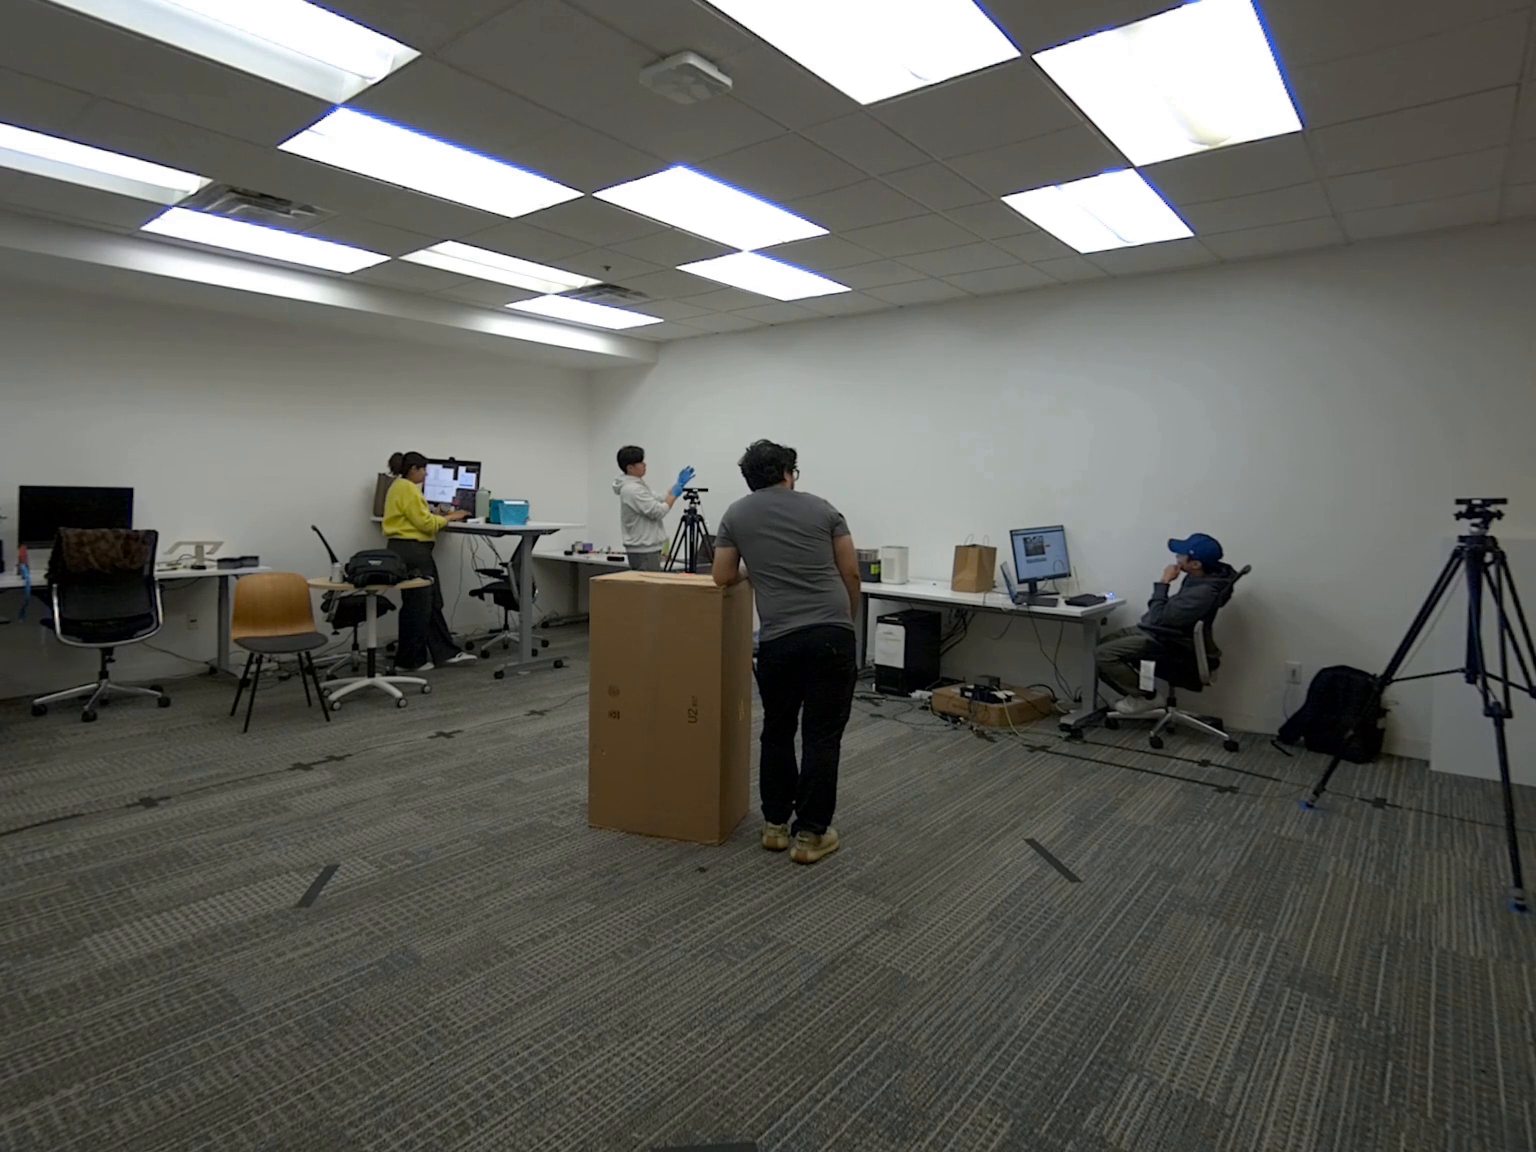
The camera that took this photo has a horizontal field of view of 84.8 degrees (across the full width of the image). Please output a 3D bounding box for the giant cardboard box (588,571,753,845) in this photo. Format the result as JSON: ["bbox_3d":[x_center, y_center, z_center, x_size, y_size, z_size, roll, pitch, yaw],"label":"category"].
[{"bbox_3d":[-0.417,0.512,3.586,0.589,1.023,0.418,2,3,19],"label":"giant cardboard box"}]
